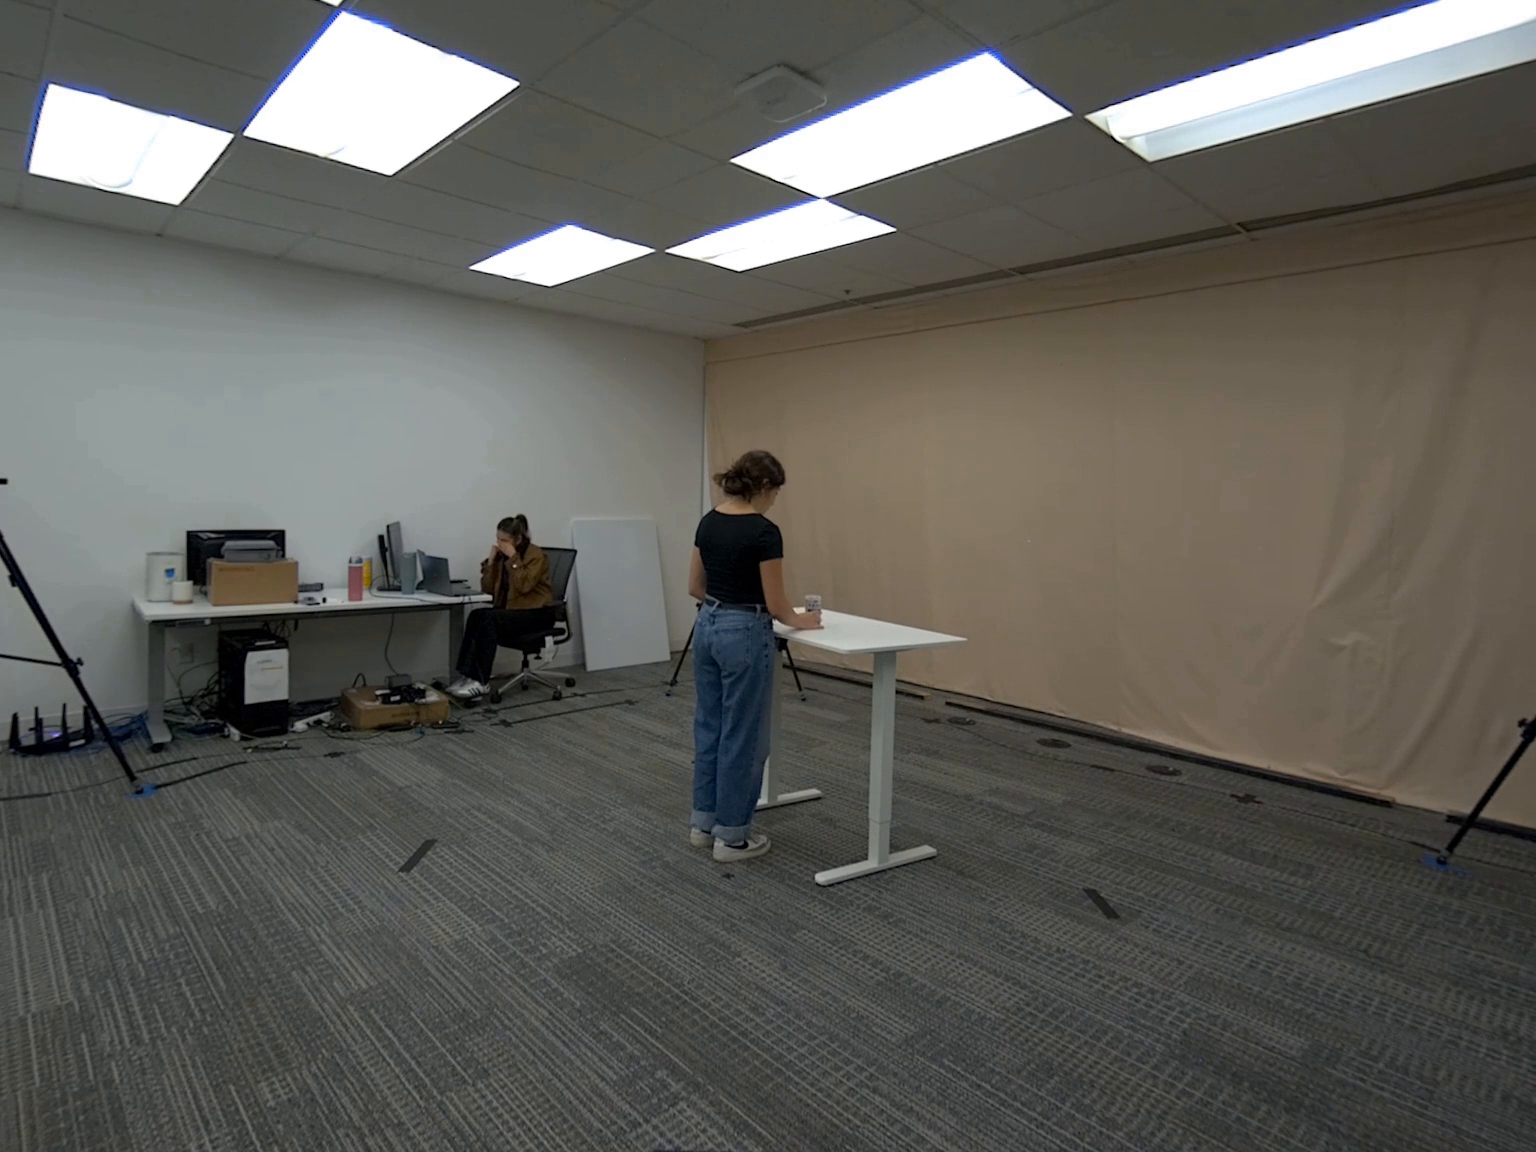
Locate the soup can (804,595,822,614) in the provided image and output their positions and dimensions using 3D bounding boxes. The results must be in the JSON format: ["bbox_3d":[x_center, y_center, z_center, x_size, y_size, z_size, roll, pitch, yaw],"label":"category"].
[{"bbox_3d":[0.177,0.142,3.471,0.067,0.121,0.067,-1,5,-1],"label":"soup can"}]
